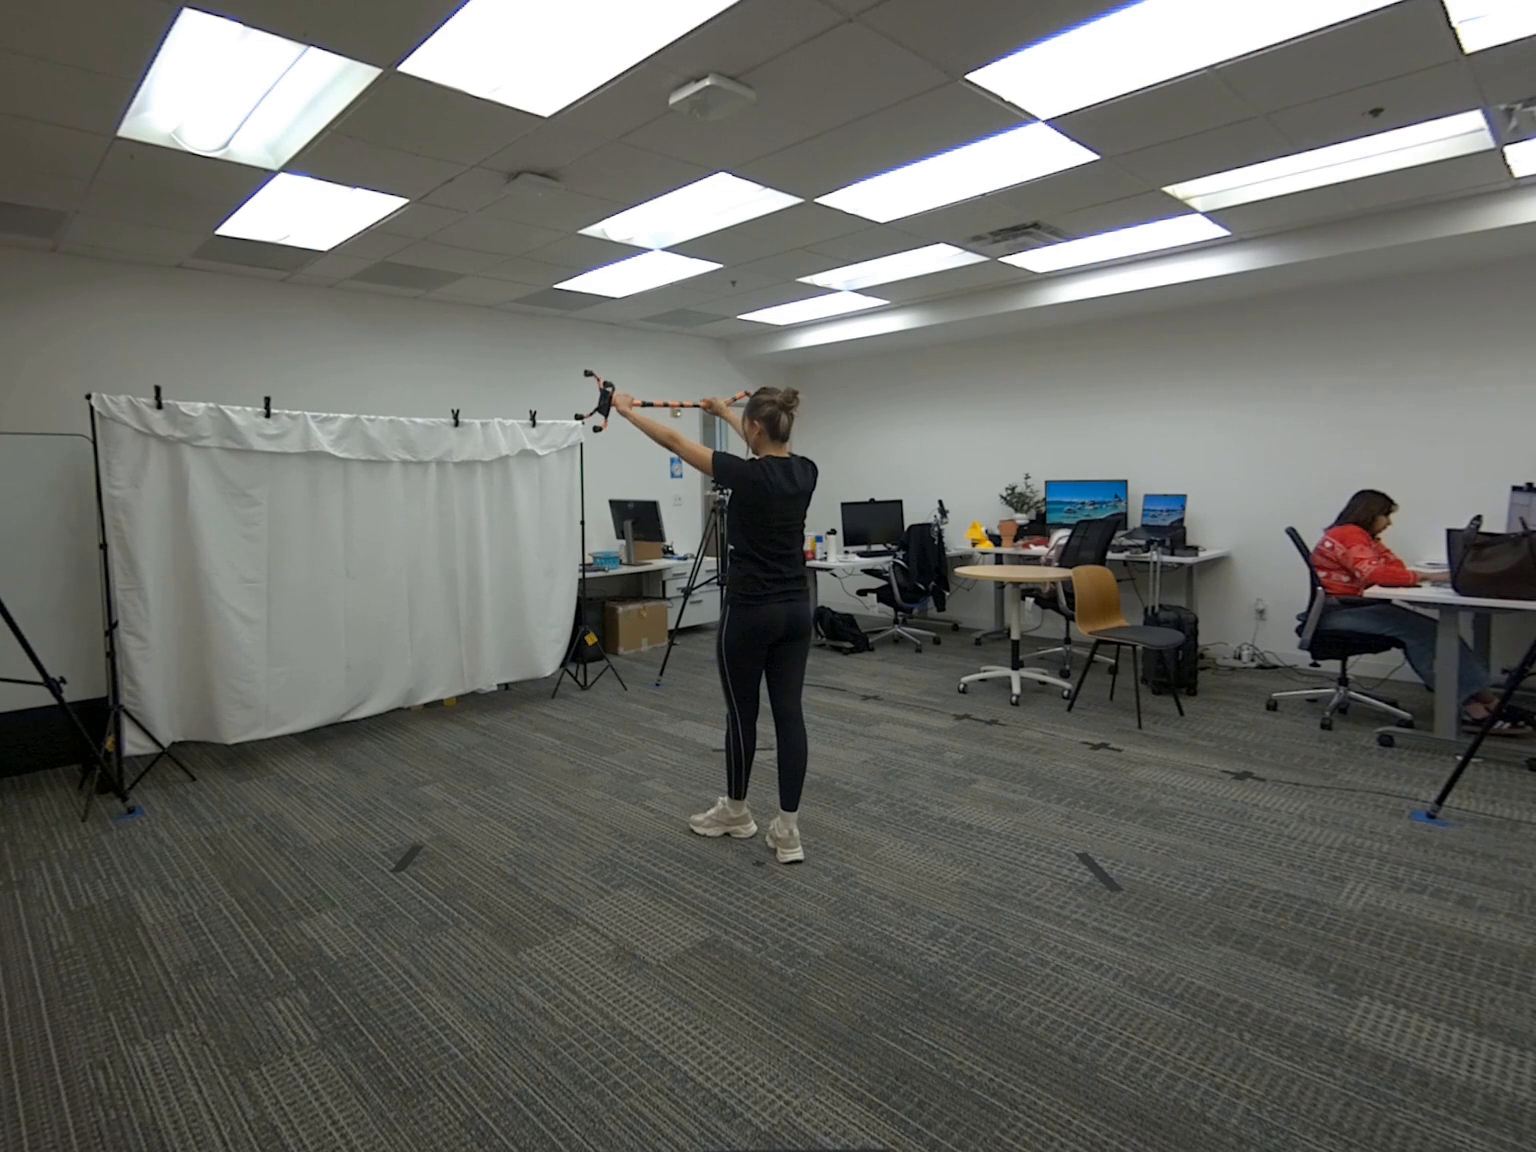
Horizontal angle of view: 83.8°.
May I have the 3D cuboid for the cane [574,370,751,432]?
[{"bbox_3d":[-0.364,-0.717,3.543,0.886,0.204,0.157,-11,37,-46],"label":"cane"}]
